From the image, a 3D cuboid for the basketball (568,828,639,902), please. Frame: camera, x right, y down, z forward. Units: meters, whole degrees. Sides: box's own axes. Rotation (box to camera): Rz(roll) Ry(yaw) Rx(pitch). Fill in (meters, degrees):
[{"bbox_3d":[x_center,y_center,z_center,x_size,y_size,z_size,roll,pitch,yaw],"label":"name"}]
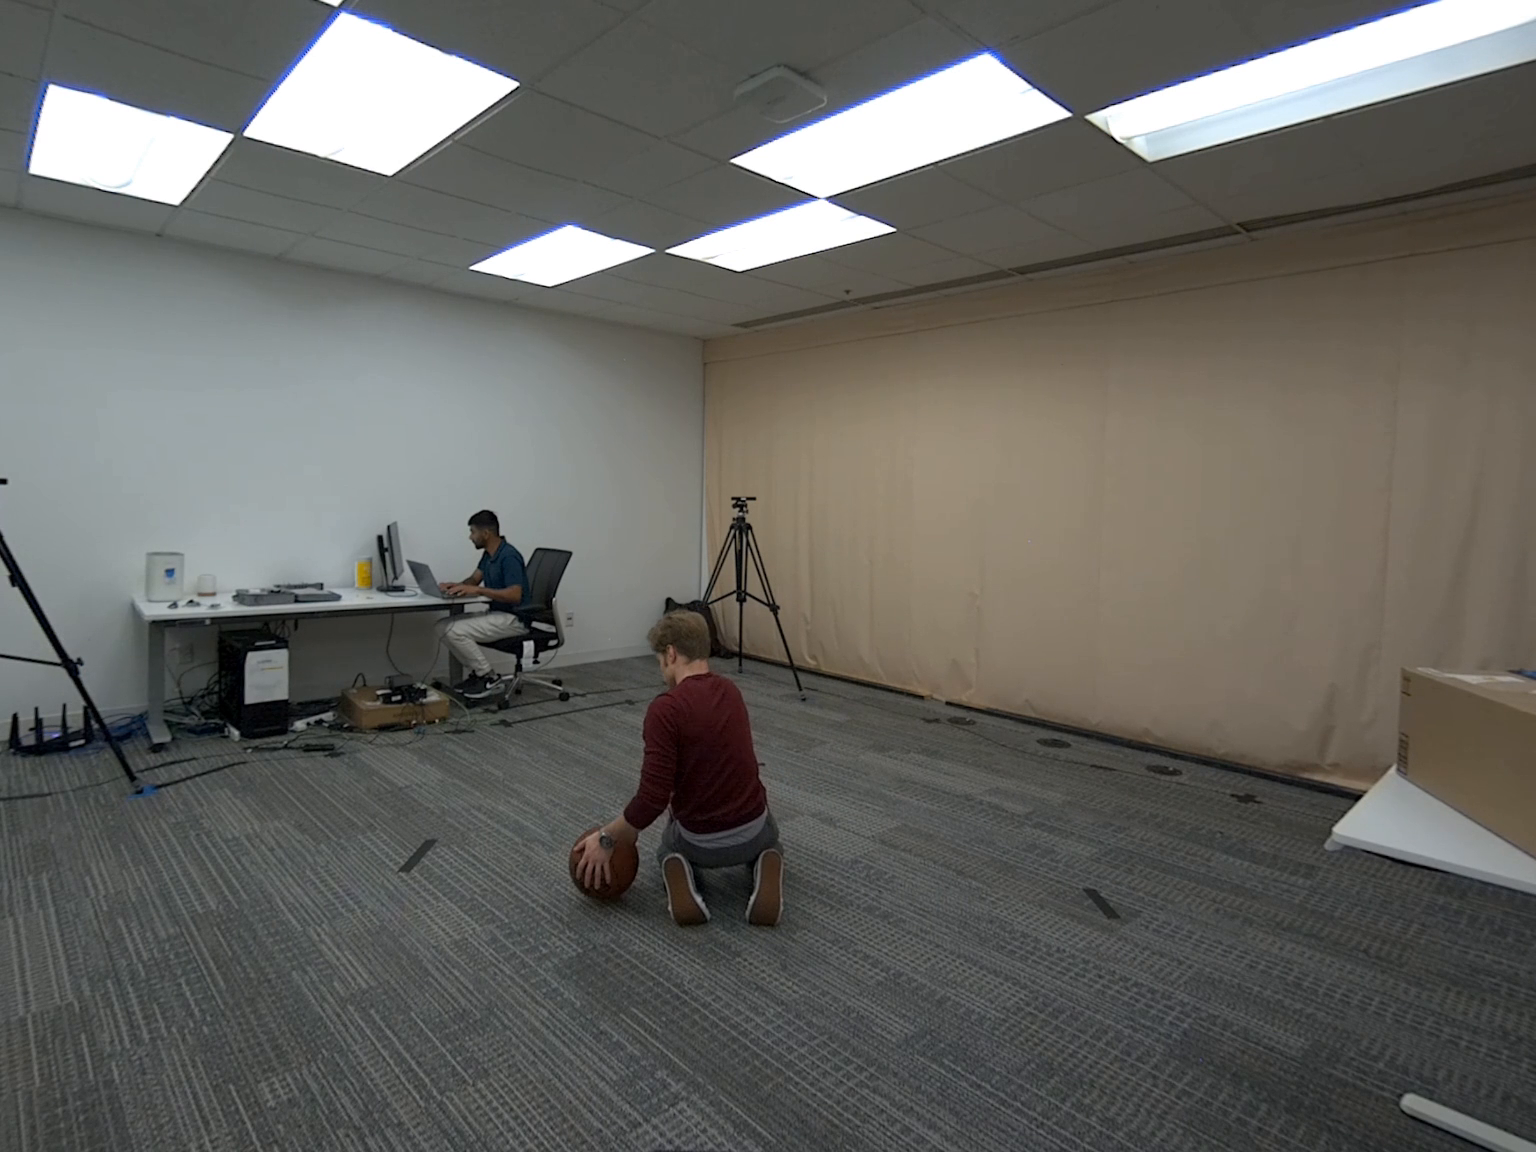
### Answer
[{"bbox_3d":[-0.566,0.968,2.885,0.236,0.235,0.237,1,4,-1],"label":"basketball"}]
